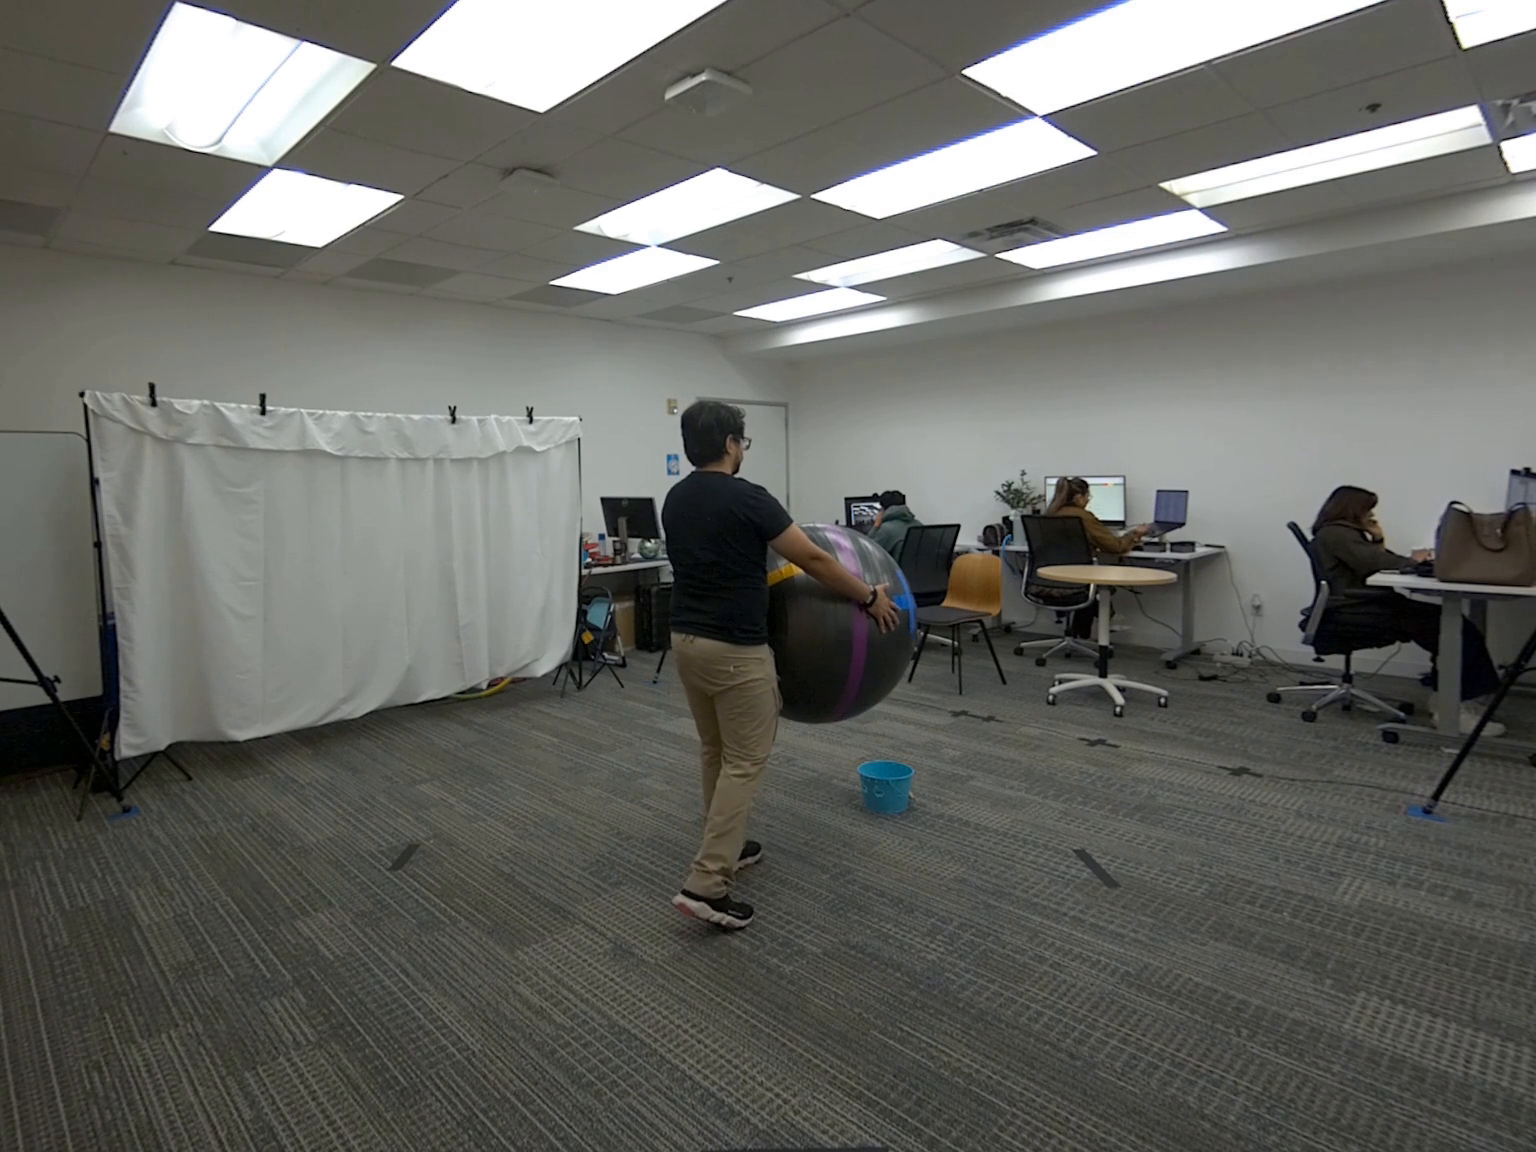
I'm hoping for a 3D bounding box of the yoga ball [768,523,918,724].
[{"bbox_3d":[0.190,0.181,3.262,0.757,0.755,0.762,-1,5,-2],"label":"yoga ball"}]
